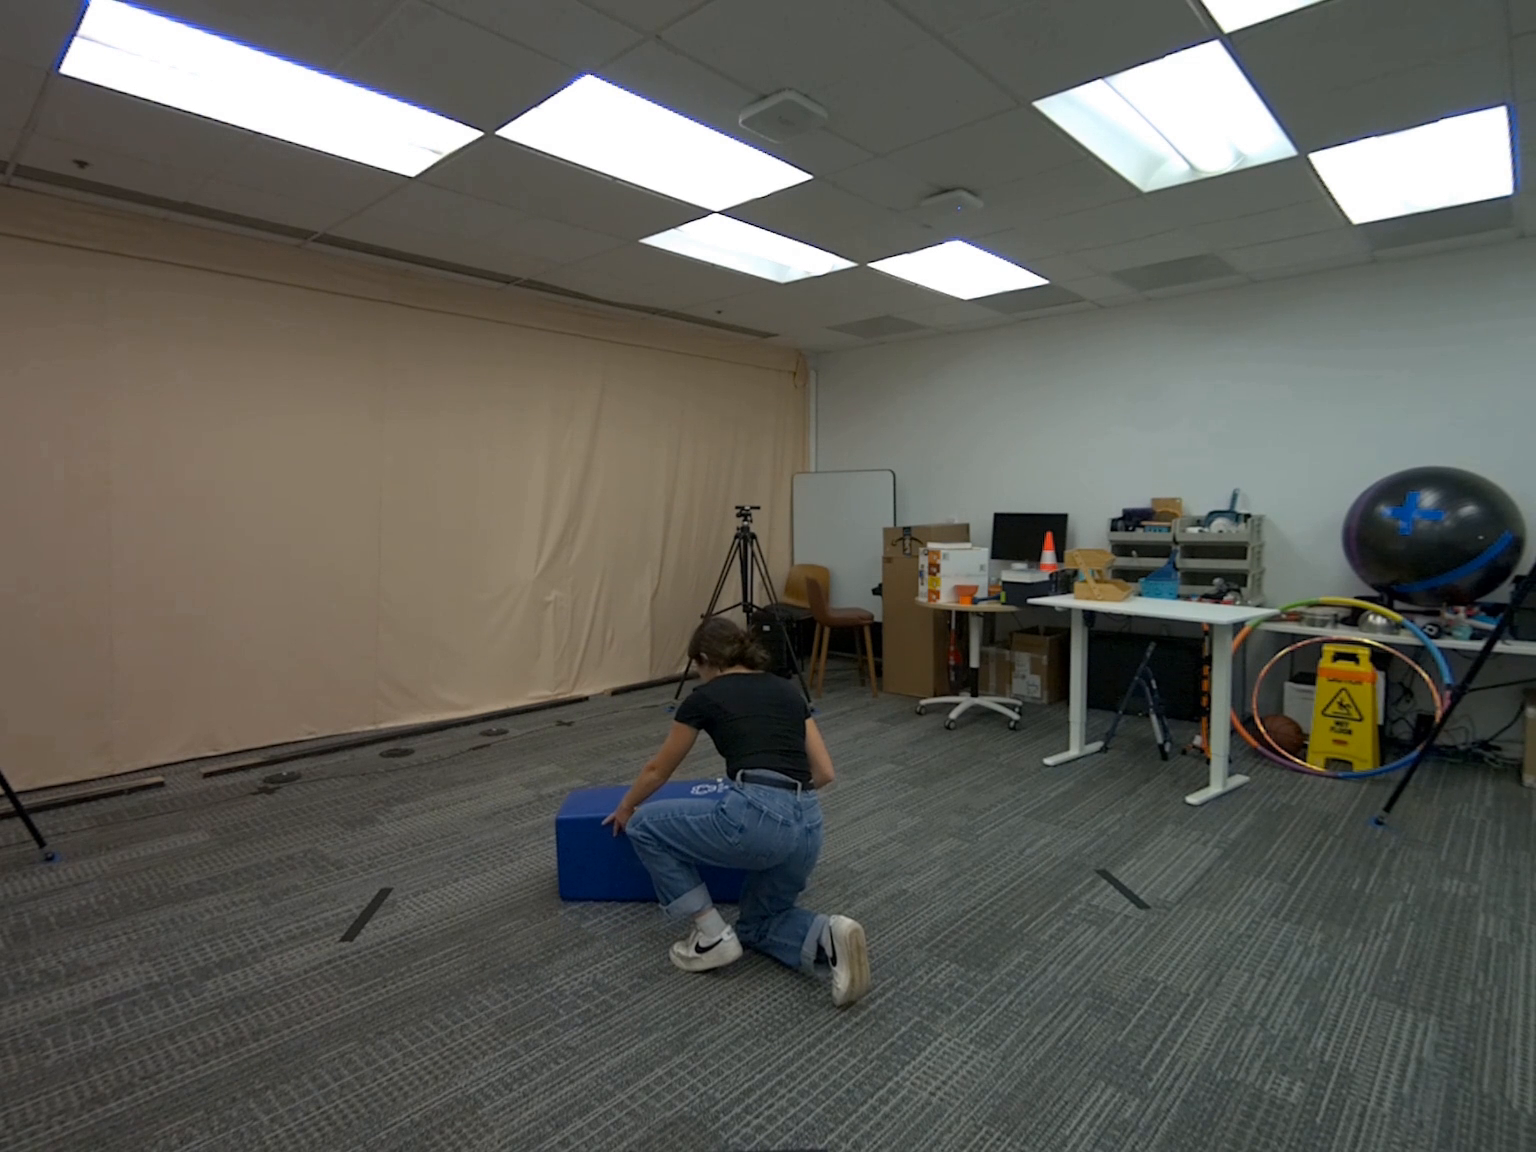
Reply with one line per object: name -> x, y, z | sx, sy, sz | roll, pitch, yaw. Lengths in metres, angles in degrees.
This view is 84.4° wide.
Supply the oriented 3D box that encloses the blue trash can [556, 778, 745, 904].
blue trash can -> -0.394, 0.973, 3.096 | 0.714, 0.377, 0.375 | -3, 4, 1
